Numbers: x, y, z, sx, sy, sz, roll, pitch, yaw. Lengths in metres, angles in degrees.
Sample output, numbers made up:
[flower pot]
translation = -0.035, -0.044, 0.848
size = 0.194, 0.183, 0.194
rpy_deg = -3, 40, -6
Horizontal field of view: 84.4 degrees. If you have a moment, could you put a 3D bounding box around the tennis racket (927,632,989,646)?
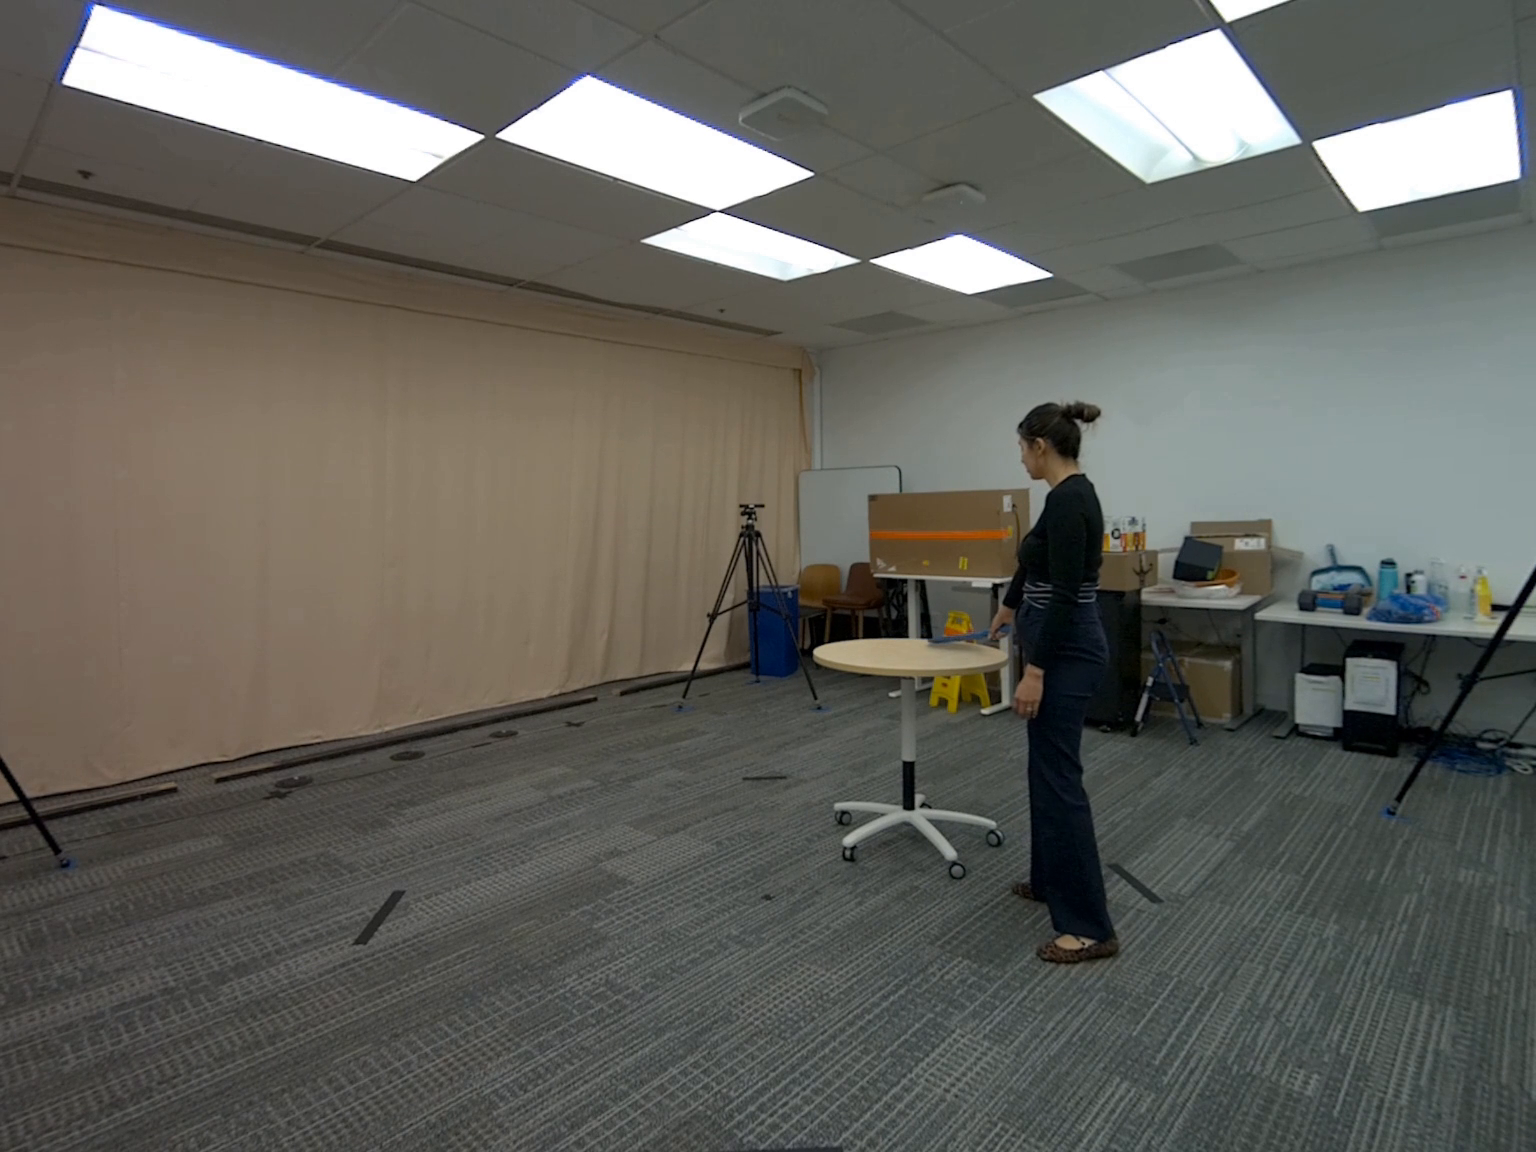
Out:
[tennis racket]
translation = 0.807, 0.256, 3.472
size = 0.208, 0.032, 0.441
rpy_deg = 1, -10, -26
